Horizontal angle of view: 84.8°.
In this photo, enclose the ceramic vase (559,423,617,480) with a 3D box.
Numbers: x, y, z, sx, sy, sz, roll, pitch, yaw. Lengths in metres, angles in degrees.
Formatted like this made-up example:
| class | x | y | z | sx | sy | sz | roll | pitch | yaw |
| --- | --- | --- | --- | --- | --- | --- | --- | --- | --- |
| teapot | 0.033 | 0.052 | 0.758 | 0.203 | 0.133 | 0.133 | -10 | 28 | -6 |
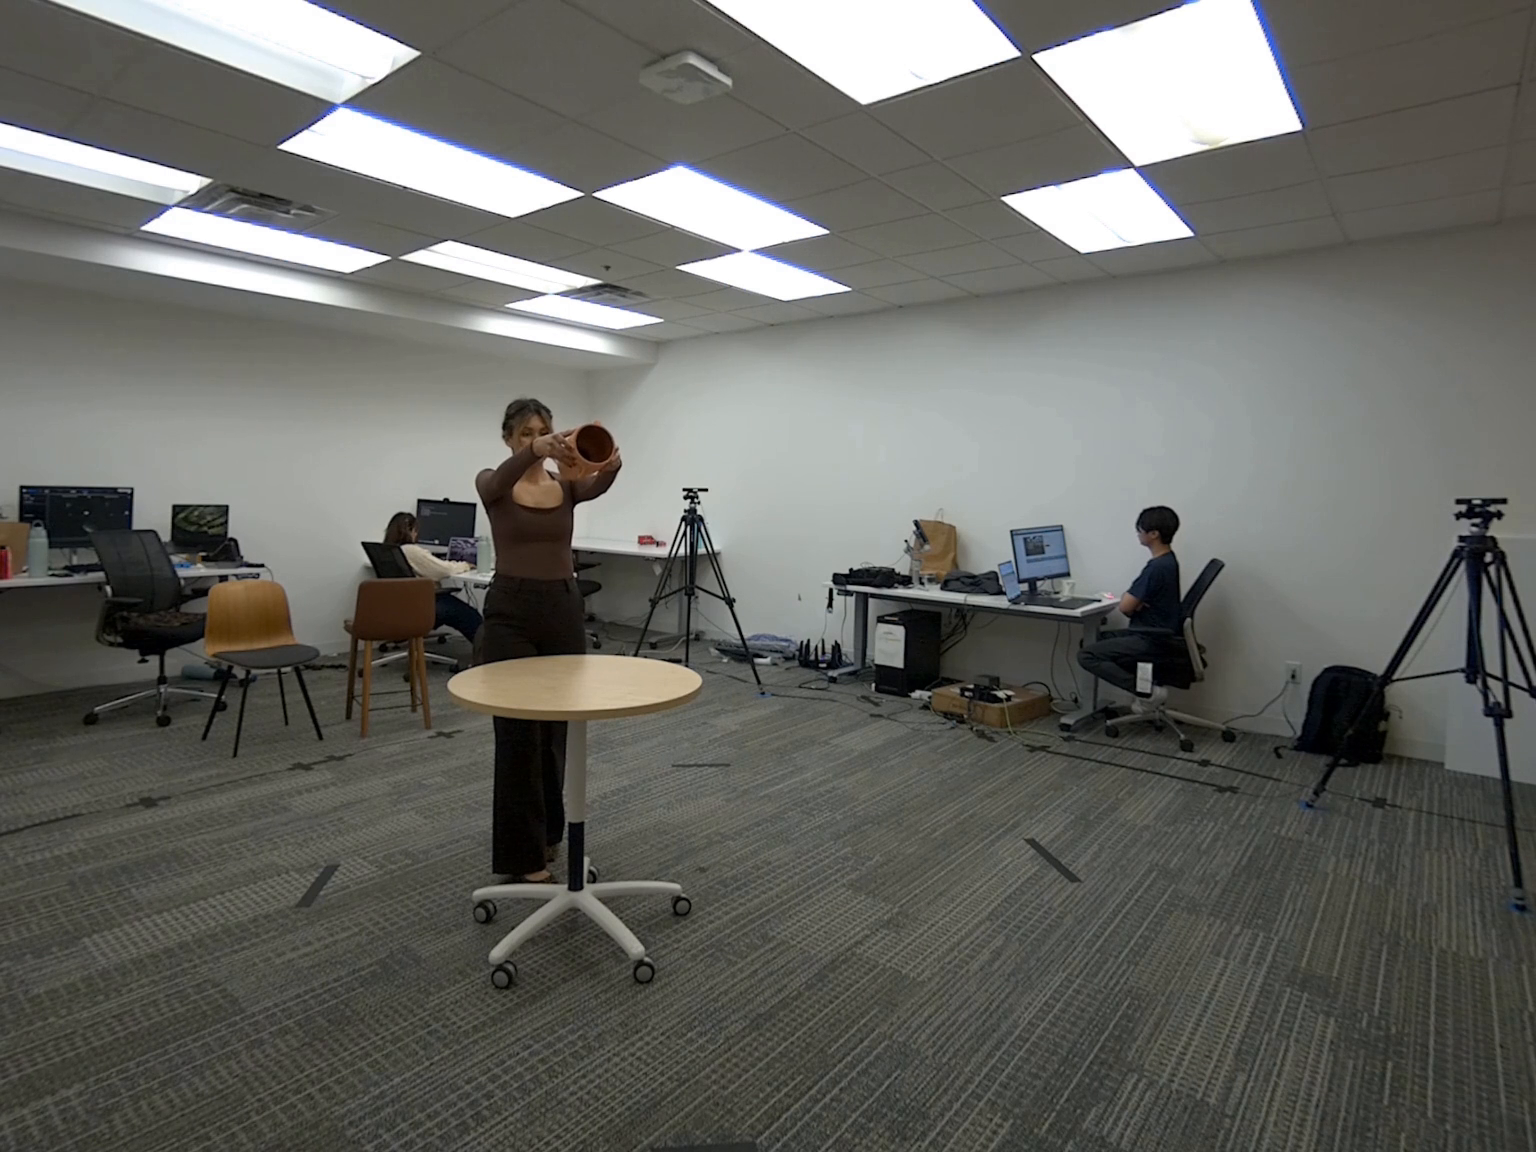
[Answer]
| class | x | y | z | sx | sy | sz | roll | pitch | yaw |
| --- | --- | --- | --- | --- | --- | --- | --- | --- | --- |
| ceramic vase | -0.580 | -0.371 | 2.611 | 0.158 | 0.133 | 0.223 | -38 | 9 | -30 |
